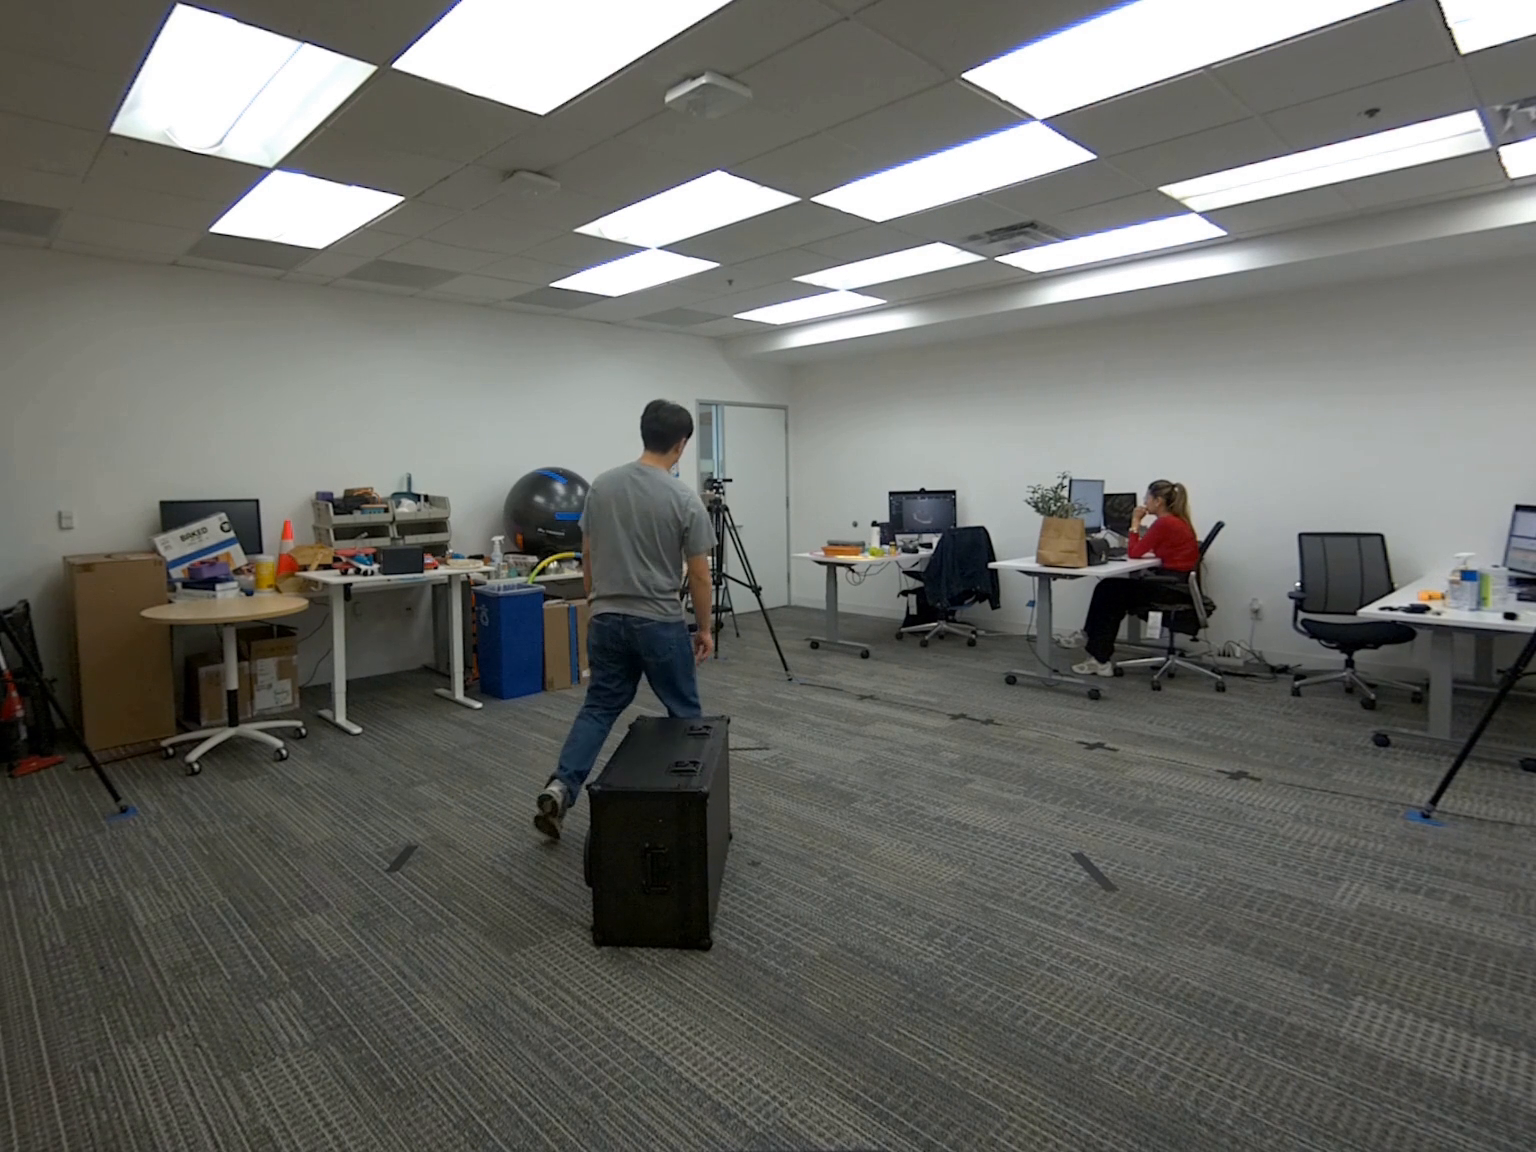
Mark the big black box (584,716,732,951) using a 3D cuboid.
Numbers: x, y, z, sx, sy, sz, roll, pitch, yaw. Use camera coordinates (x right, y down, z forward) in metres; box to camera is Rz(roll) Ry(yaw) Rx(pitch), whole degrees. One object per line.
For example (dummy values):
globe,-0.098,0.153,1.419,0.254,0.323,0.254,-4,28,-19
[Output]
big black box,-0.343,0.820,2.956,0.398,0.519,0.861,-1,5,3
